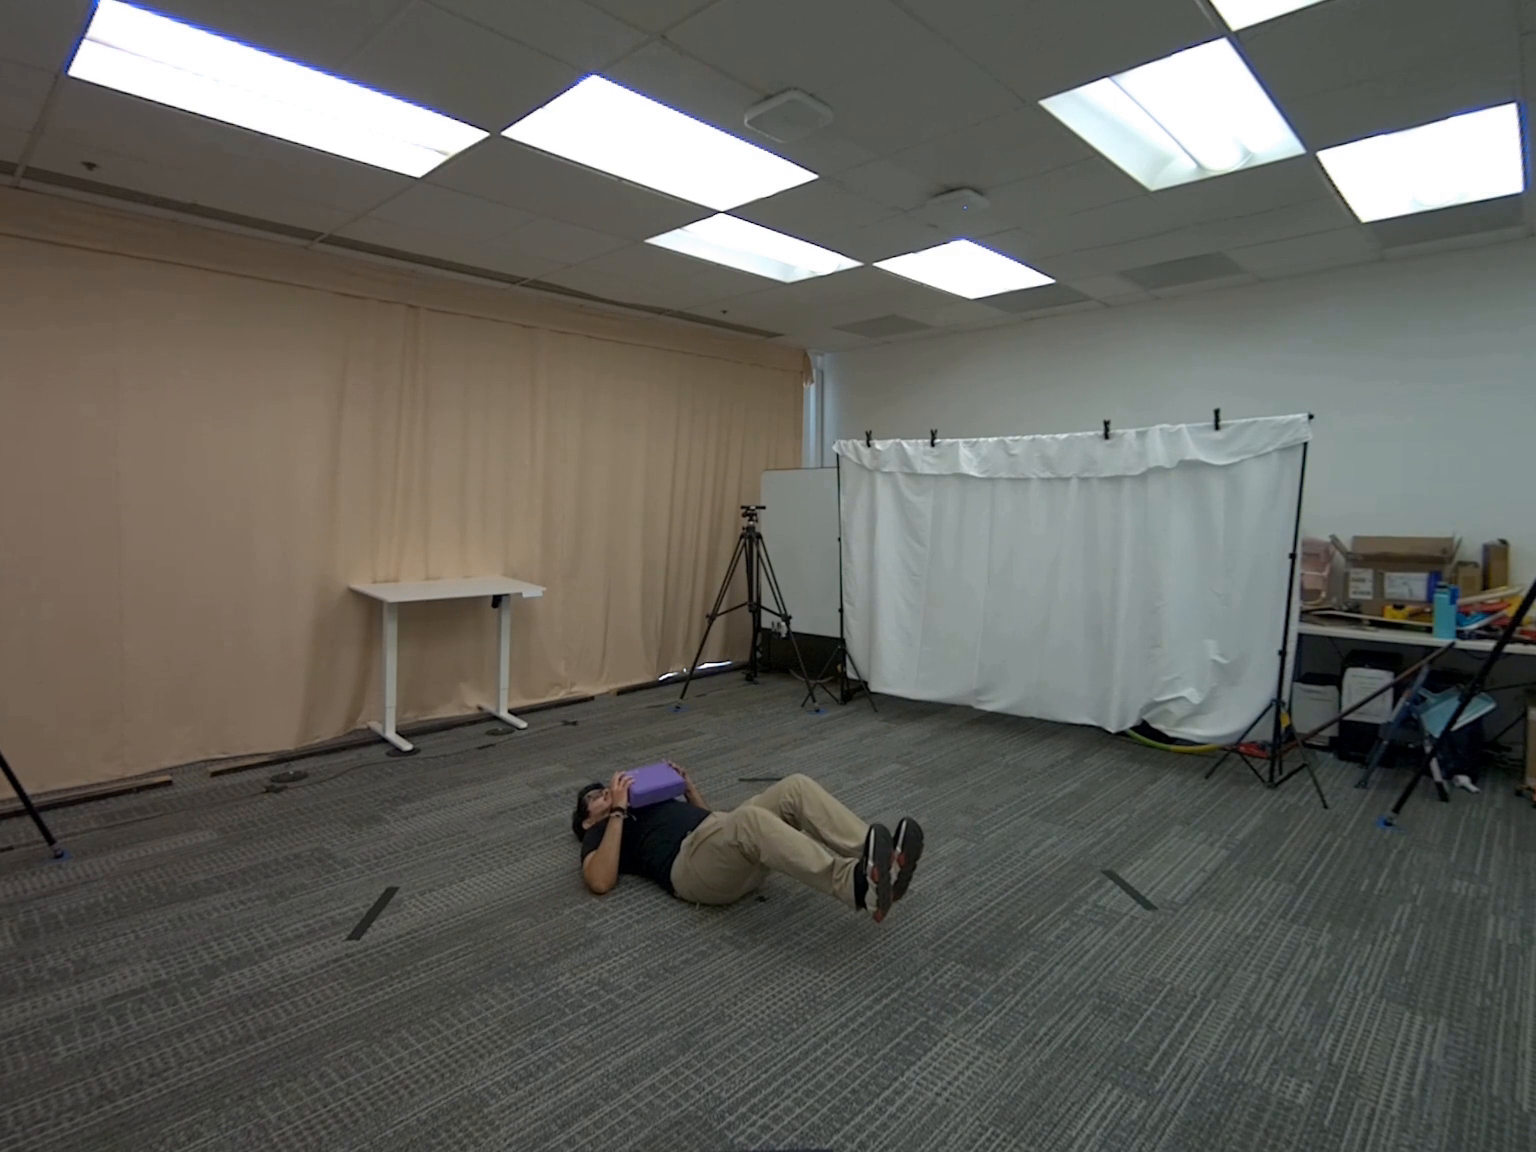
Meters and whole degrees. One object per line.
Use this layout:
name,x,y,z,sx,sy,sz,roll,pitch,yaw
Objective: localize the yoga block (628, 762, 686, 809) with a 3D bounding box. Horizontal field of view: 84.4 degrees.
yoga block,-0.453,0.807,3.240,0.223,0.076,0.154,-6,21,-37
